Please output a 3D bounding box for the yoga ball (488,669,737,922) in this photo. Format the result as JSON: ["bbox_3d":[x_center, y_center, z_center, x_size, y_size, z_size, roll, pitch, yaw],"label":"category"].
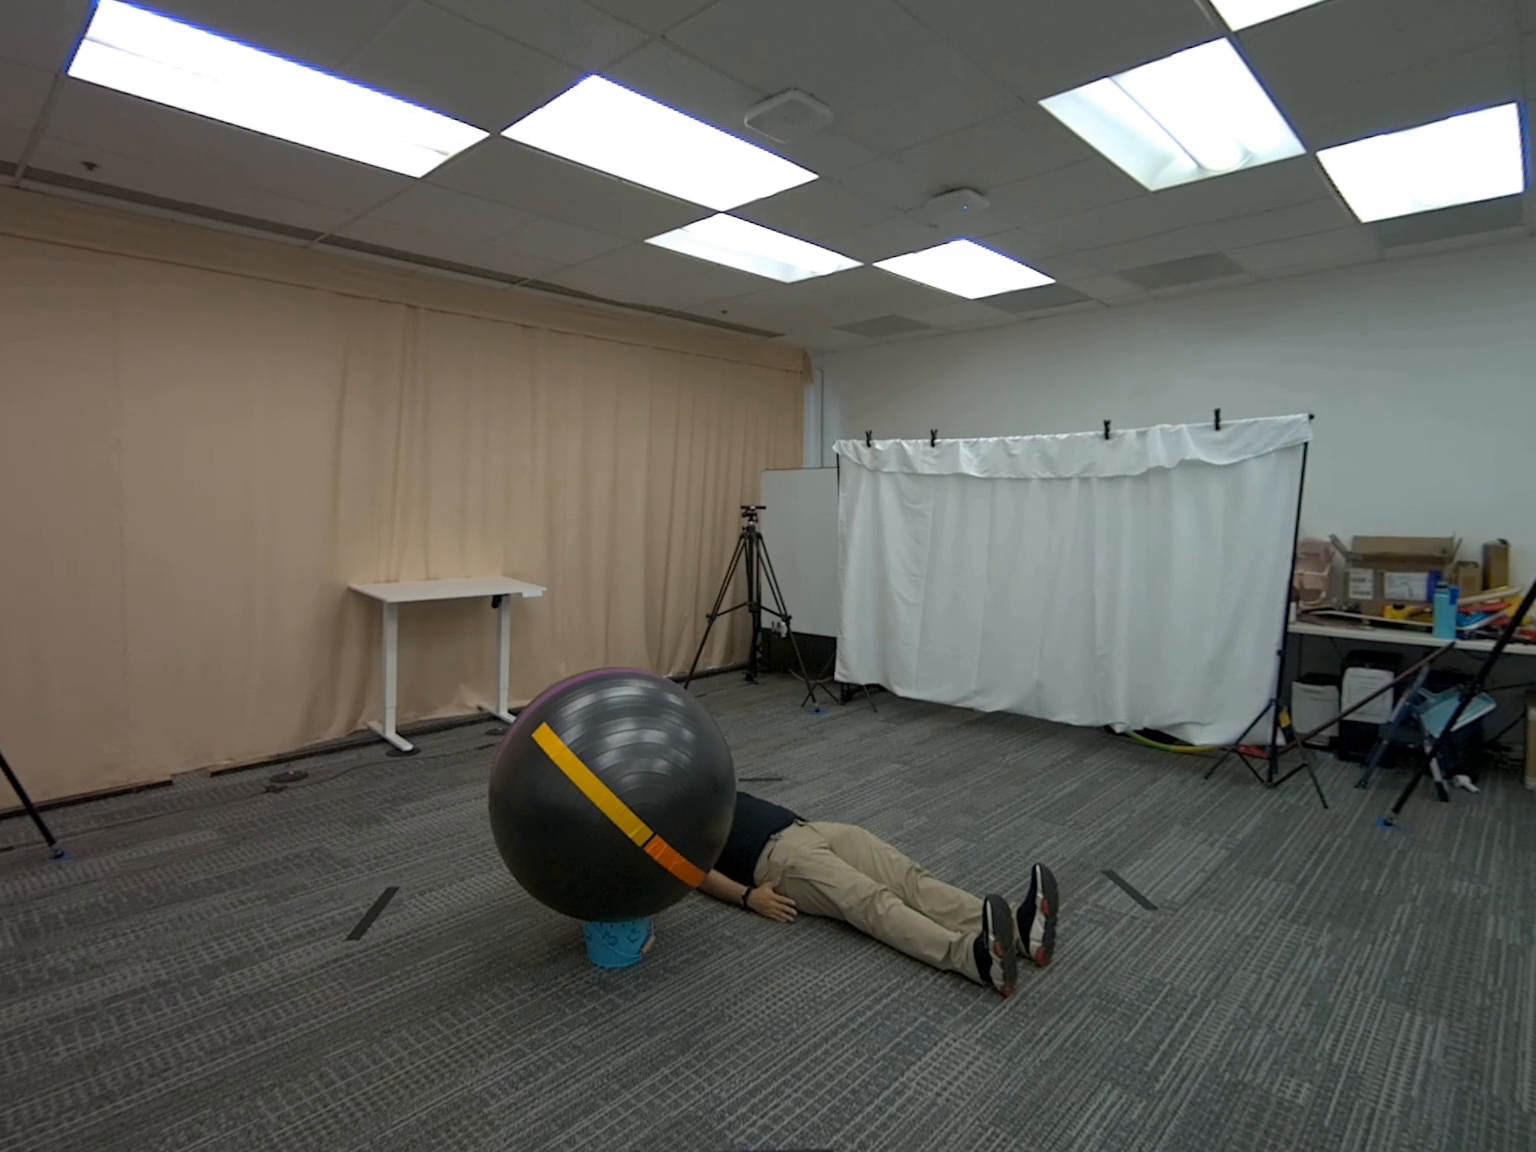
[{"bbox_3d":[-0.475,0.672,2.610,0.757,0.756,0.761,0,4,-2],"label":"yoga ball"}]
